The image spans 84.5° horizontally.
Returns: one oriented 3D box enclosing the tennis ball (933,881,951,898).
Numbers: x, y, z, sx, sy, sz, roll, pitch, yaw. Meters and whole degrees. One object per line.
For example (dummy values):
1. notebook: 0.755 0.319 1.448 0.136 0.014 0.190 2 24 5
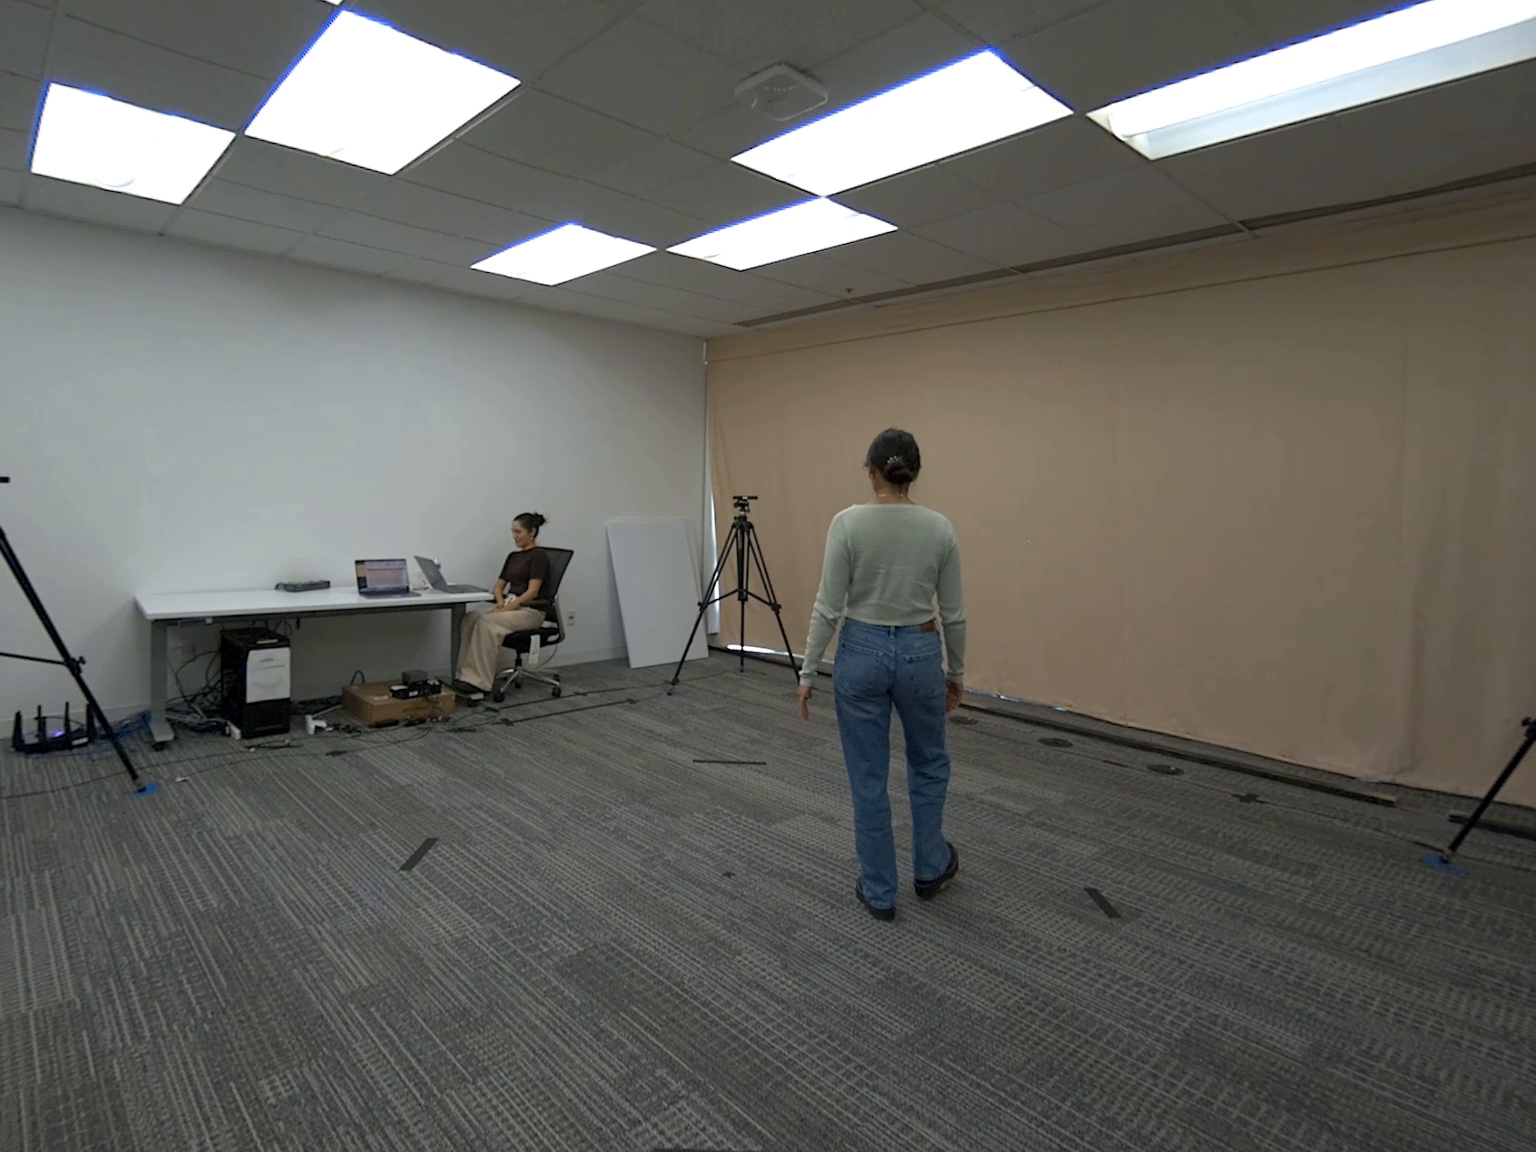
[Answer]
1. tennis ball: 0.611 1.105 3.036 0.066 0.066 0.067 1 4 -1
